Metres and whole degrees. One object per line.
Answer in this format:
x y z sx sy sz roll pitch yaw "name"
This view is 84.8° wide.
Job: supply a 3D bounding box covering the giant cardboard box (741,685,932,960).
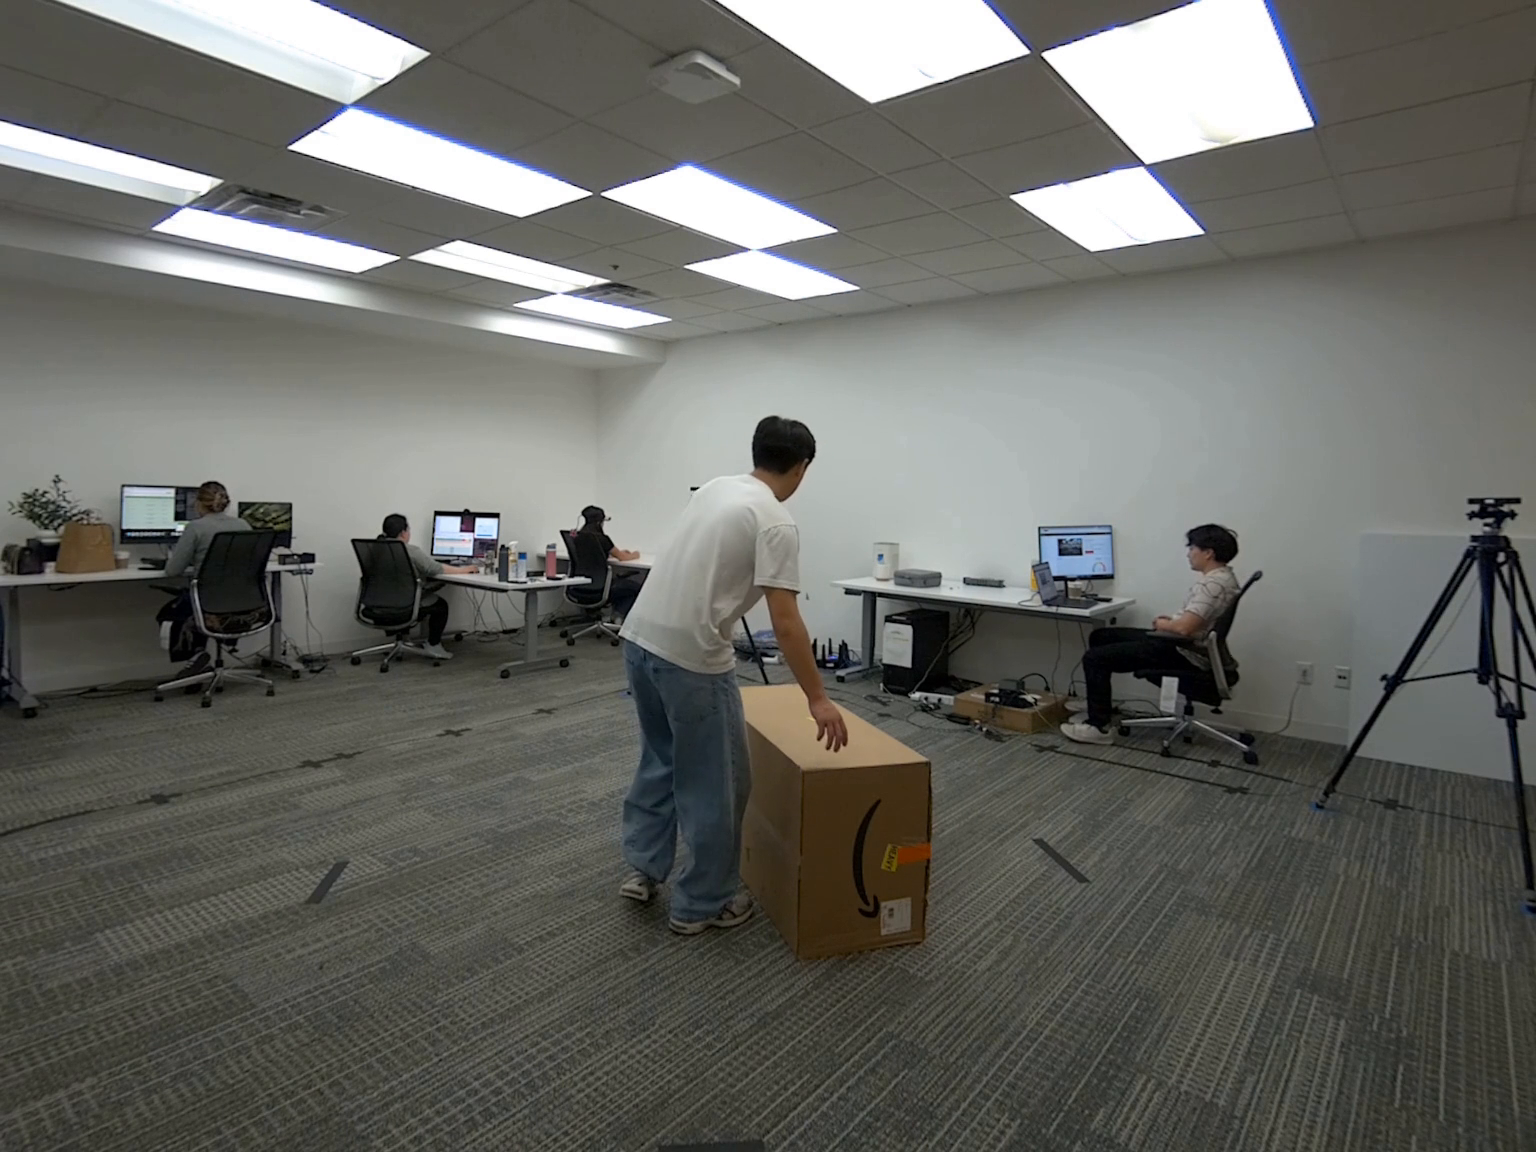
0.118 0.788 3.040 0.418 0.575 1.049 -1 6 -19 "giant cardboard box"
